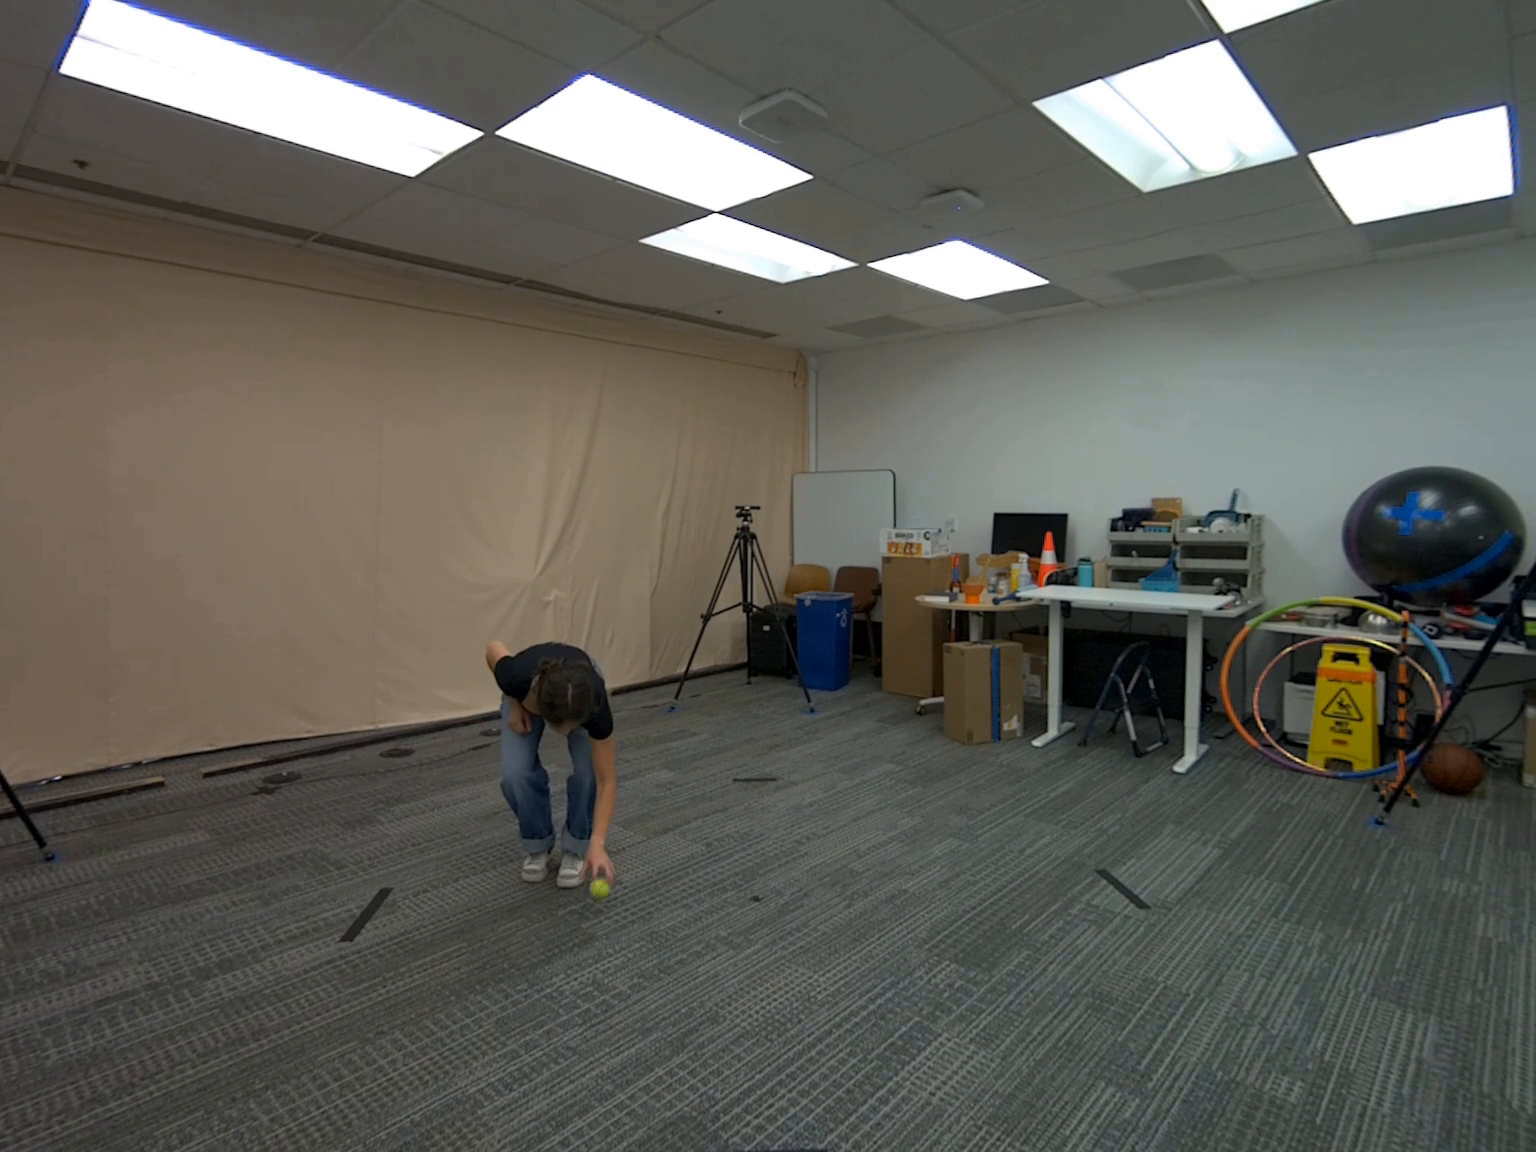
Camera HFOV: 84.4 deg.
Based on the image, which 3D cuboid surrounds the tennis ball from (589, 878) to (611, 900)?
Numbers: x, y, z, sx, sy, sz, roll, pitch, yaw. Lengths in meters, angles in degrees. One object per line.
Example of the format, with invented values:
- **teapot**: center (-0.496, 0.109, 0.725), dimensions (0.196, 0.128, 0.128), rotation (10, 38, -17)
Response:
- **tennis ball**: center (-0.551, 1.019, 2.762), dimensions (0.066, 0.066, 0.067), rotation (0, 4, -2)
